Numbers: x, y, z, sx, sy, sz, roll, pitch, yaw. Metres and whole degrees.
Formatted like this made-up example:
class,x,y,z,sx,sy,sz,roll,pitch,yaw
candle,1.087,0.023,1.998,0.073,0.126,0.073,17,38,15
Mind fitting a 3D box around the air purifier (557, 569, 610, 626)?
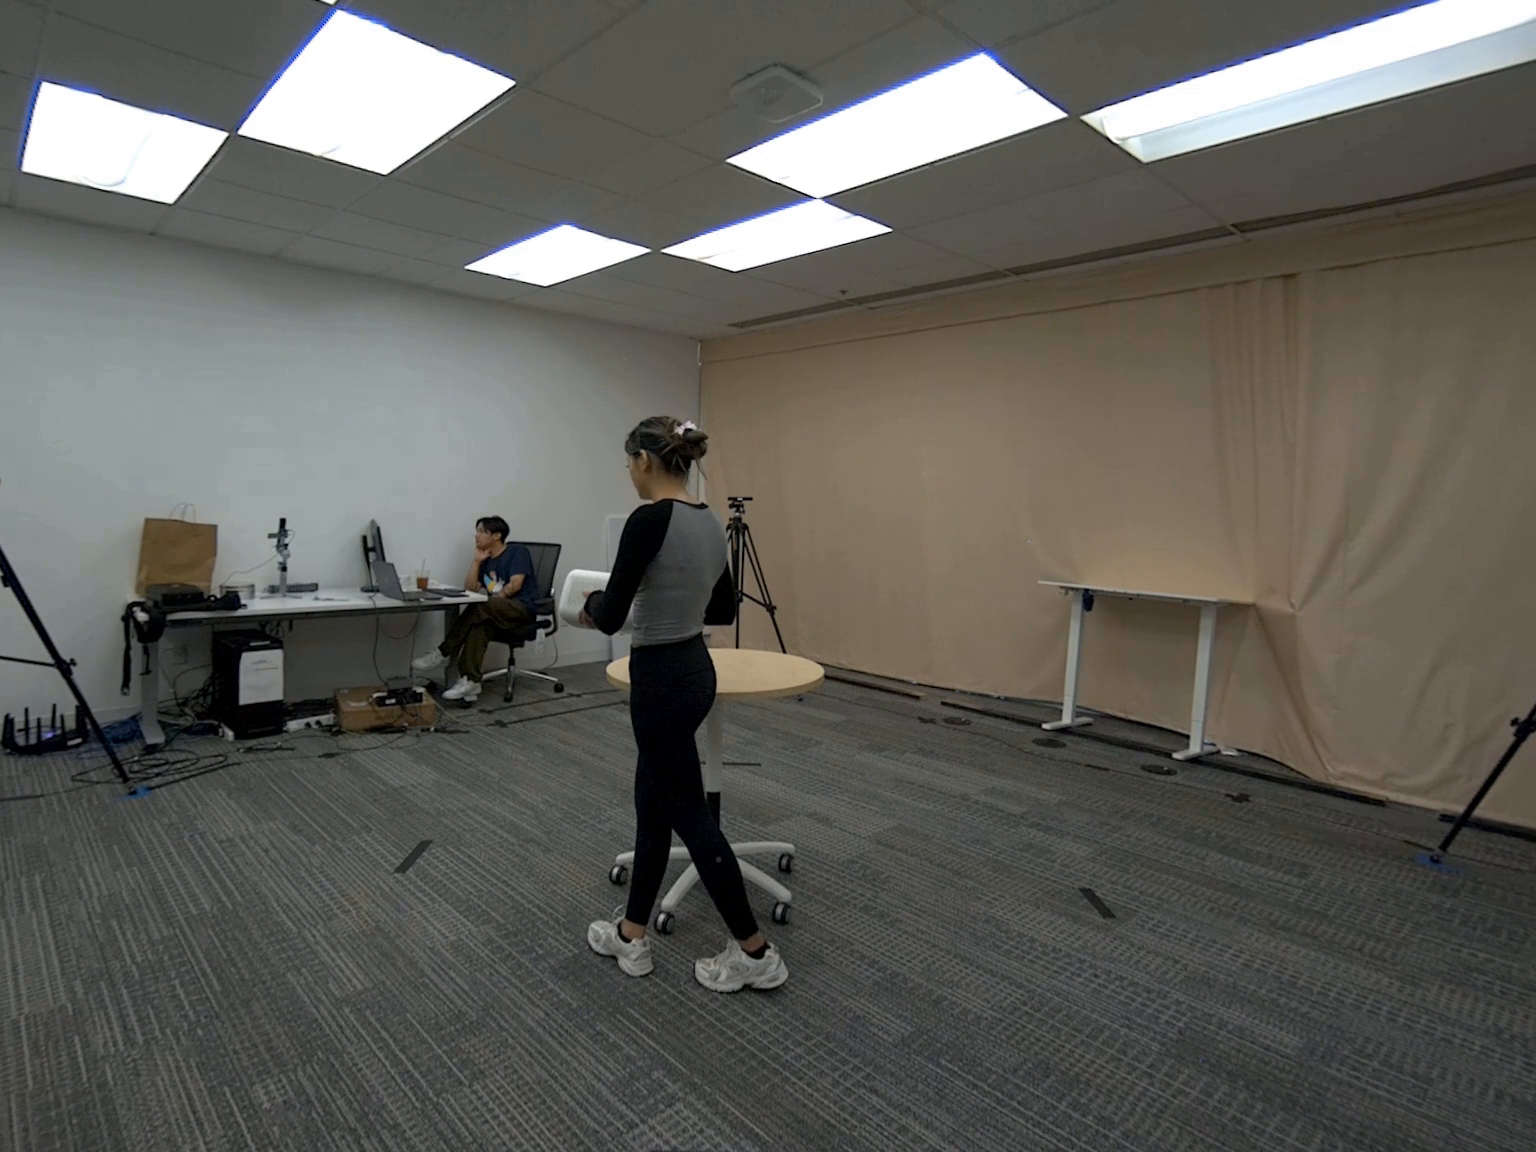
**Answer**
class,x,y,z,sx,sy,sz,roll,pitch,yaw
air purifier,-0.488,0.085,2.618,0.269,0.173,0.167,7,-16,16
